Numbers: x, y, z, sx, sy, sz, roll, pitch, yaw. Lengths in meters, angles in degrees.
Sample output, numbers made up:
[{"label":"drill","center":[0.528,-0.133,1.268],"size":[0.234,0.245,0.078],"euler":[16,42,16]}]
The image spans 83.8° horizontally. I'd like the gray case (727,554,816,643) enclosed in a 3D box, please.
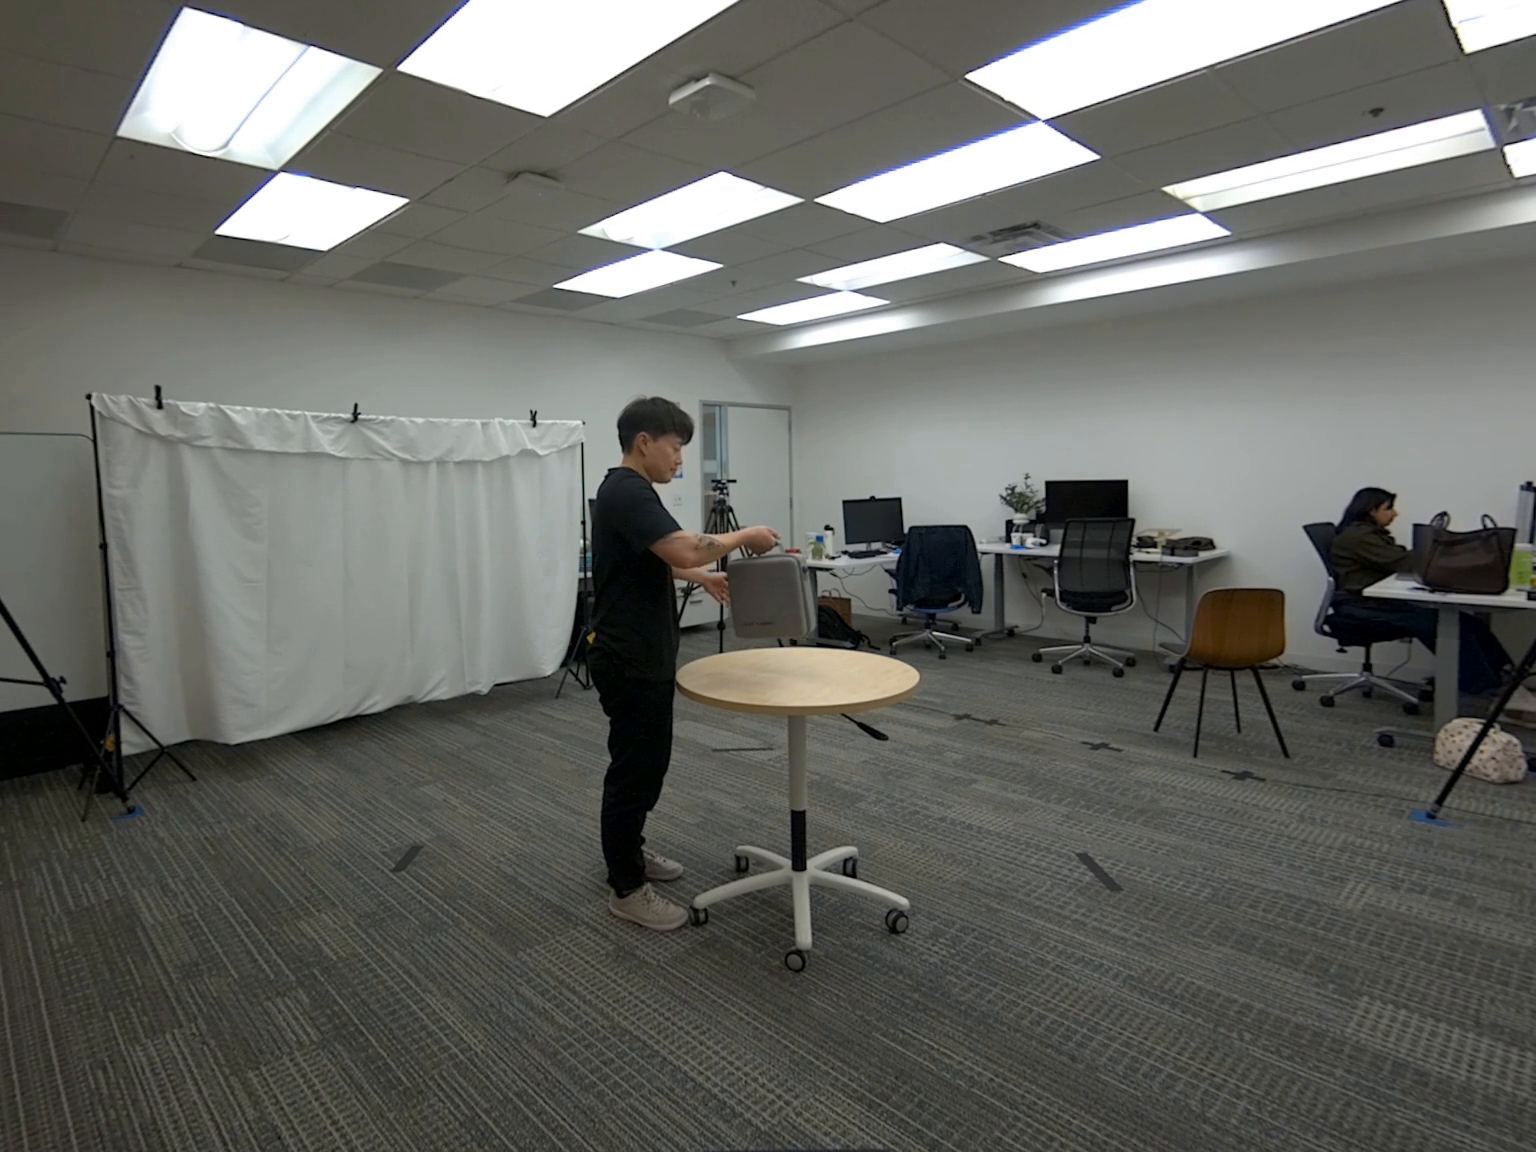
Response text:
[{"label":"gray case","center":[0.005,0.059,2.650],"size":[0.263,0.259,0.102],"euler":[-4,5,32]}]
